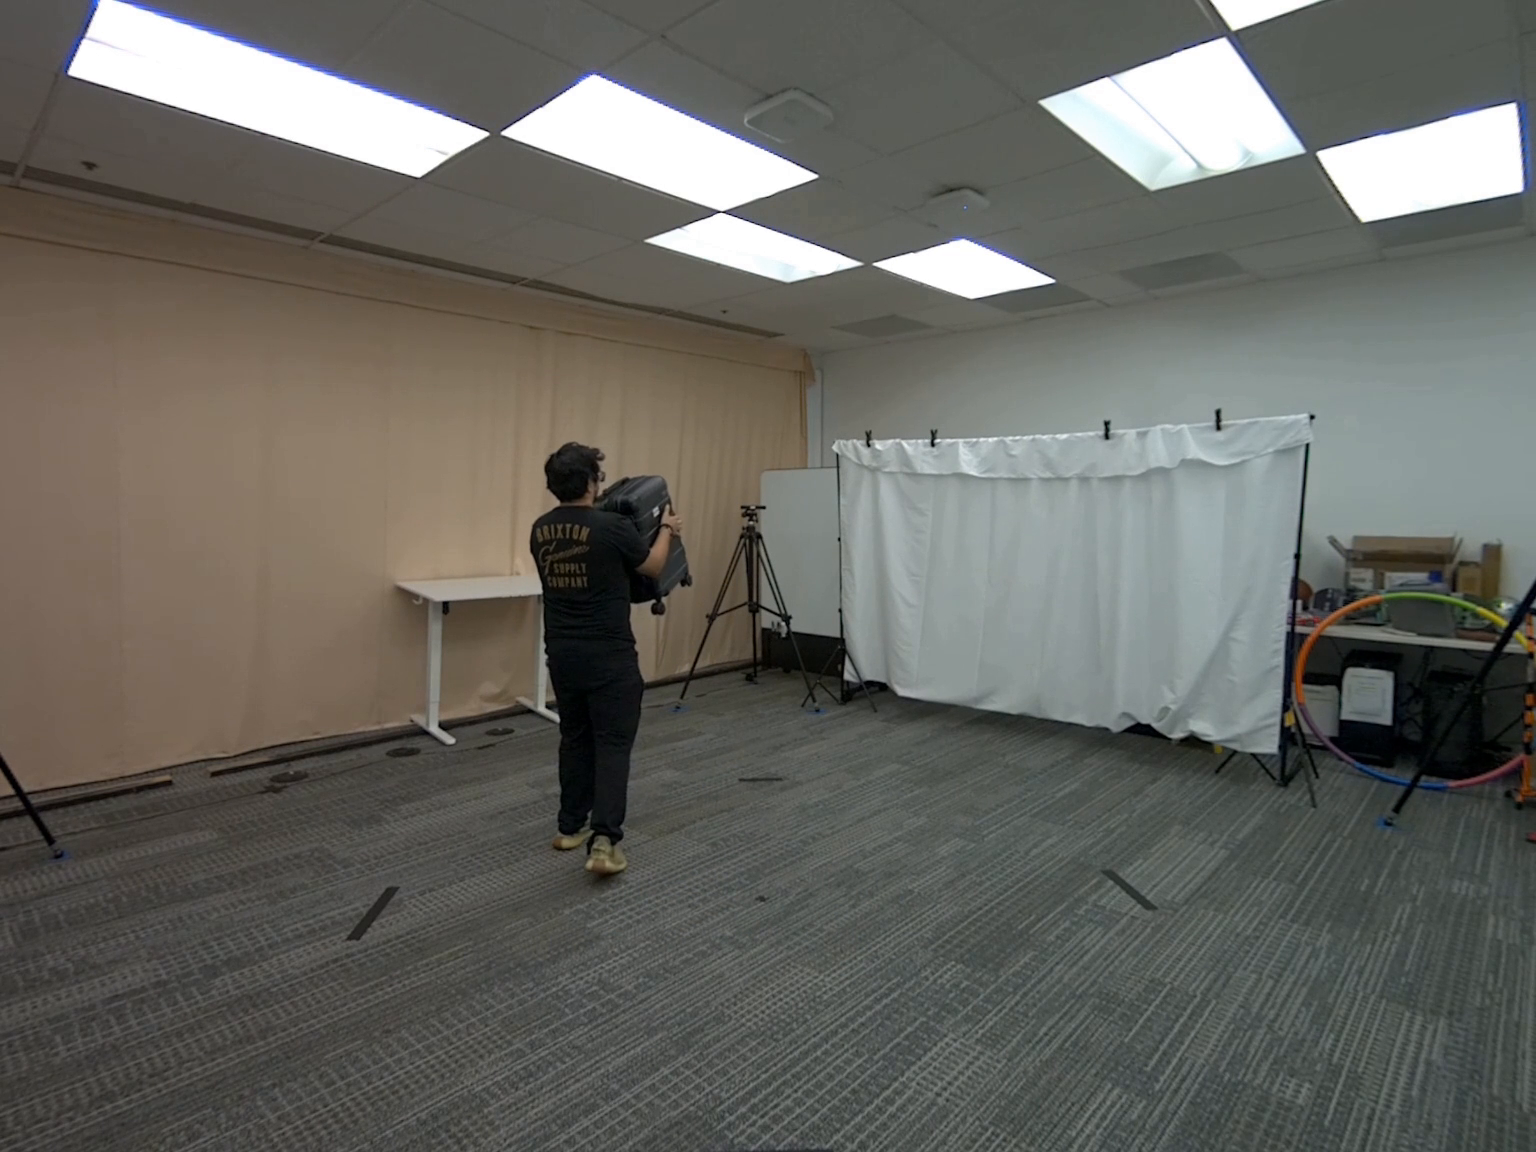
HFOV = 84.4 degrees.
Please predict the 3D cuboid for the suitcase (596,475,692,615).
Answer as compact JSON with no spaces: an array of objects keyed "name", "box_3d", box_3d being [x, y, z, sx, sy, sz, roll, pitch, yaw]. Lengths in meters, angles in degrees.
[{"name":"suitcase","box_3d":[-0.553,-0.147,3.679,0.254,0.541,0.372,-4,20,23]}]
